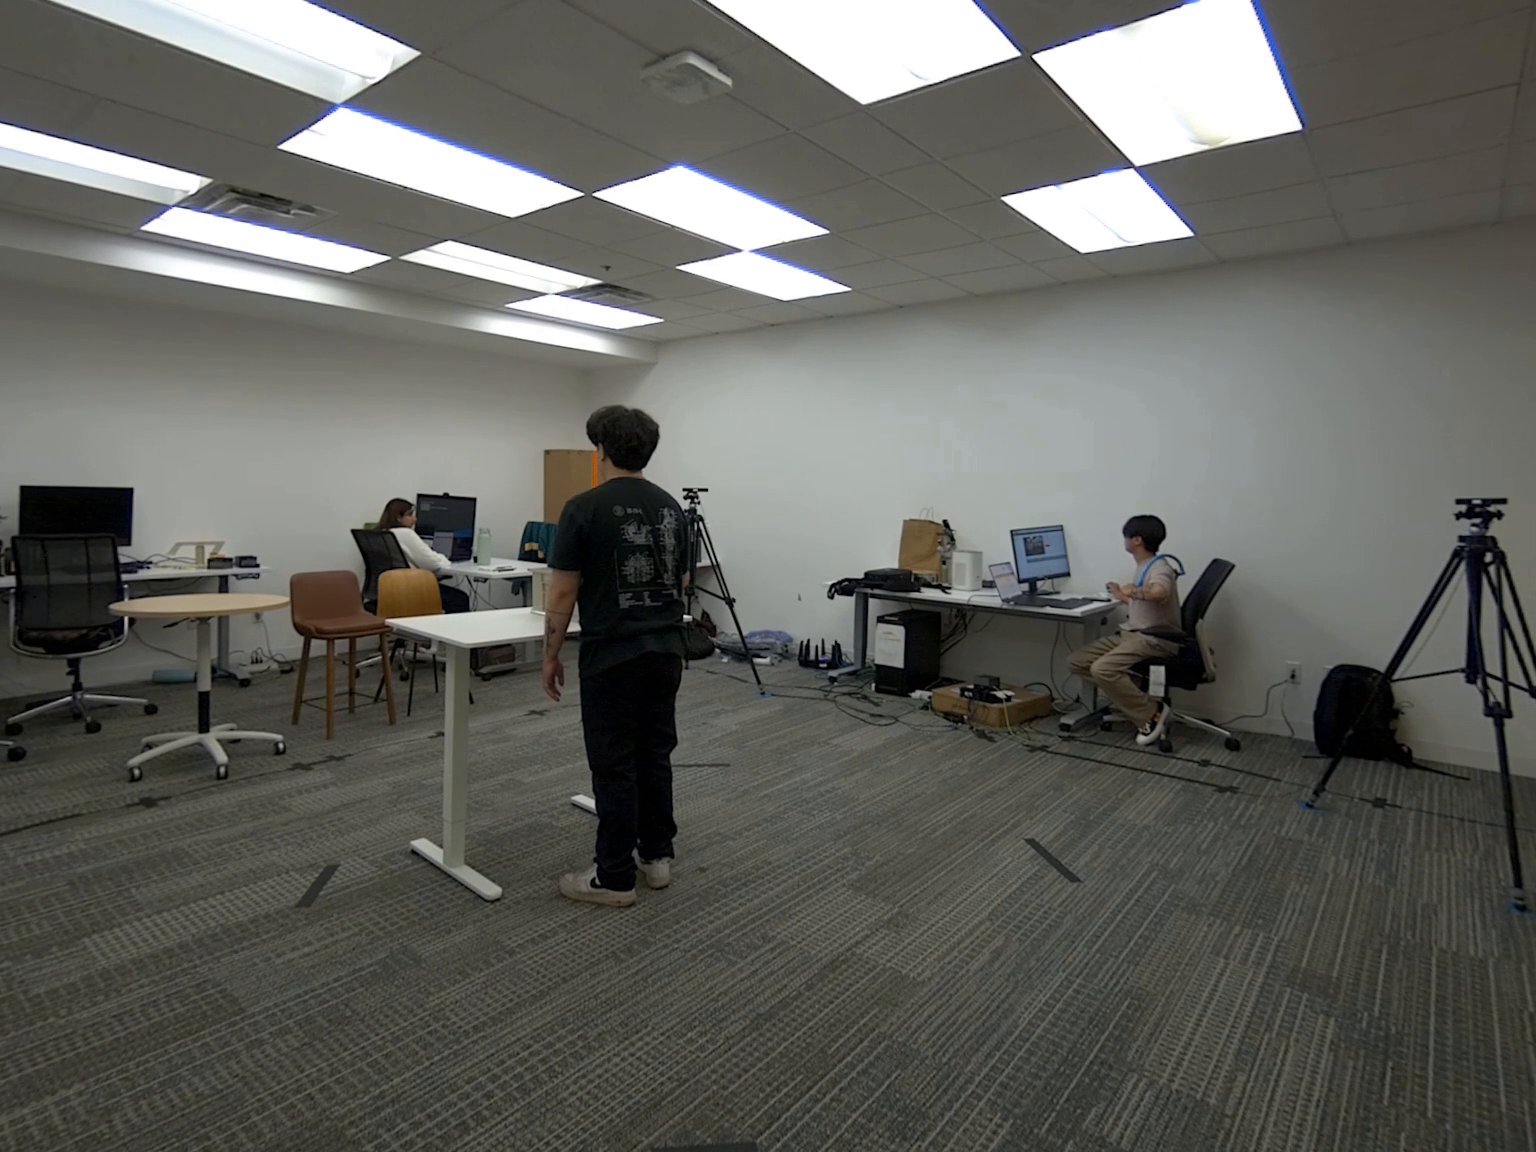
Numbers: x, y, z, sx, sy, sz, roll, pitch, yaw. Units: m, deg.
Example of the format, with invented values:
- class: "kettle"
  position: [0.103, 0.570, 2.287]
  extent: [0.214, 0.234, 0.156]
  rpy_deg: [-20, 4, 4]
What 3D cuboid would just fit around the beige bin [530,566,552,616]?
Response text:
- class: "beige bin"
  position: [-0.690, 0.066, 3.430]
  extent: [0.390, 0.188, 0.410]
  rpy_deg: [5, 6, 41]
